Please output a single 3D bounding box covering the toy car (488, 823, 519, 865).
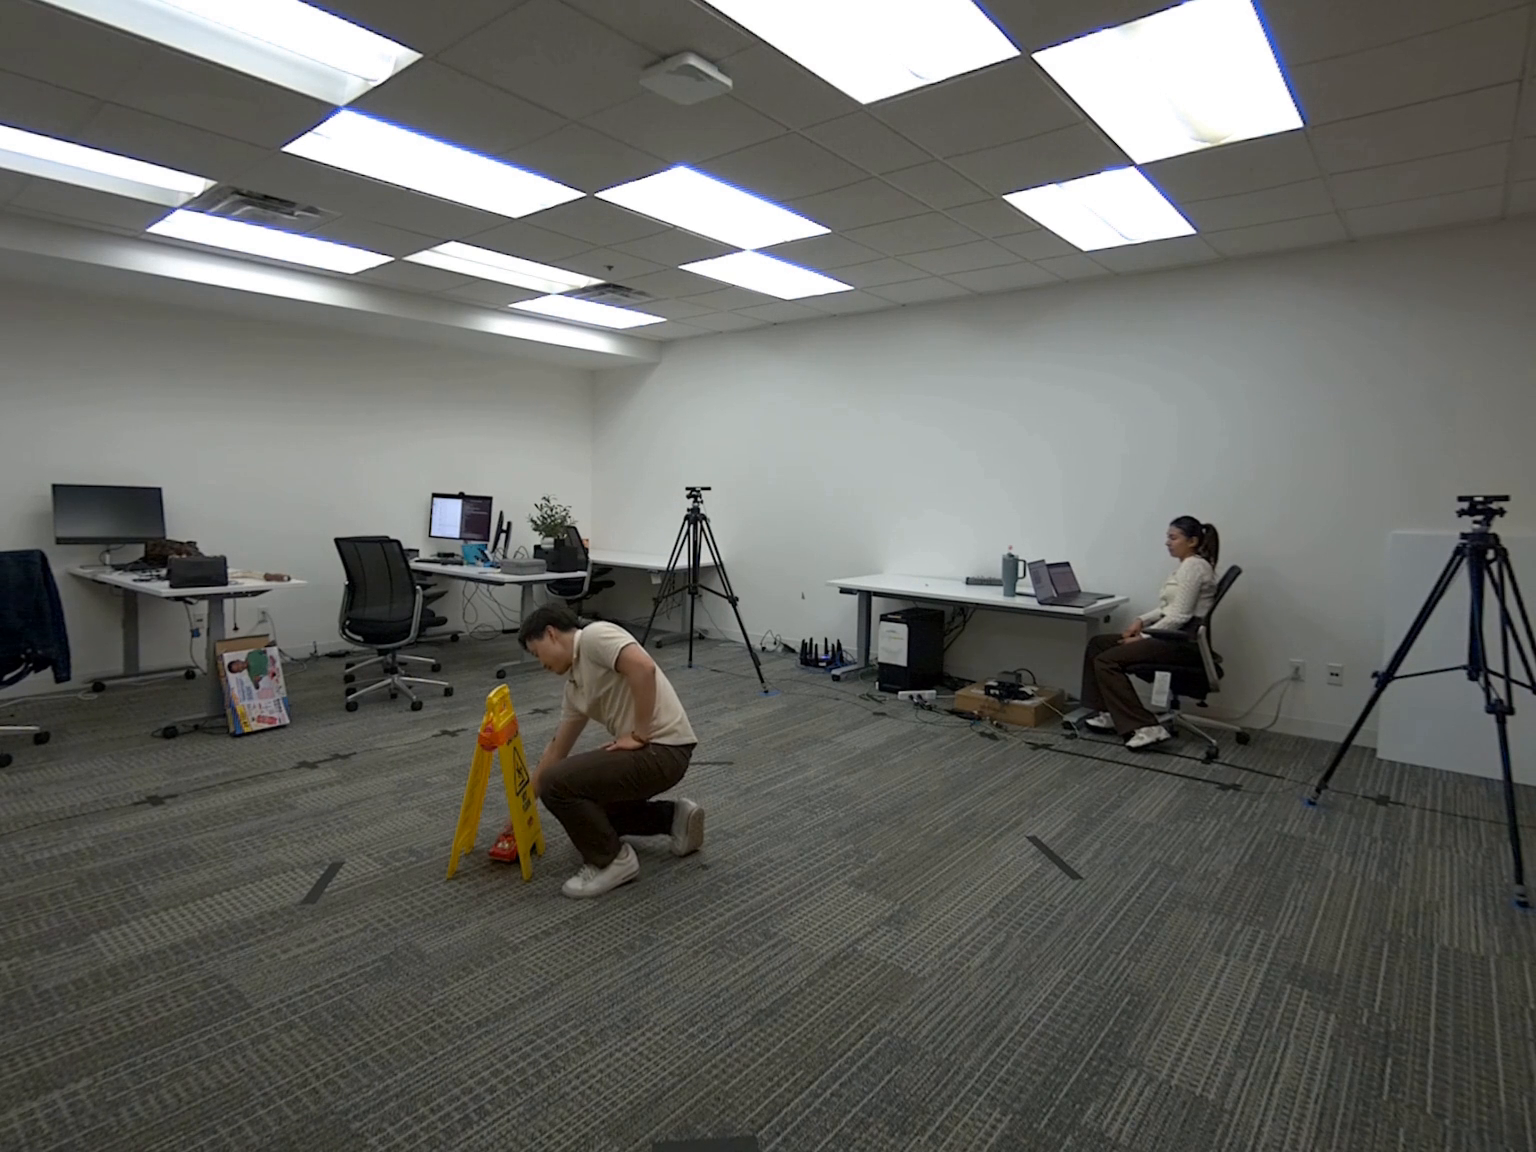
[{"bbox_3d":[-0.970,1.033,3.209,0.132,0.083,0.249,2,-3,15],"label":"toy car"}]
